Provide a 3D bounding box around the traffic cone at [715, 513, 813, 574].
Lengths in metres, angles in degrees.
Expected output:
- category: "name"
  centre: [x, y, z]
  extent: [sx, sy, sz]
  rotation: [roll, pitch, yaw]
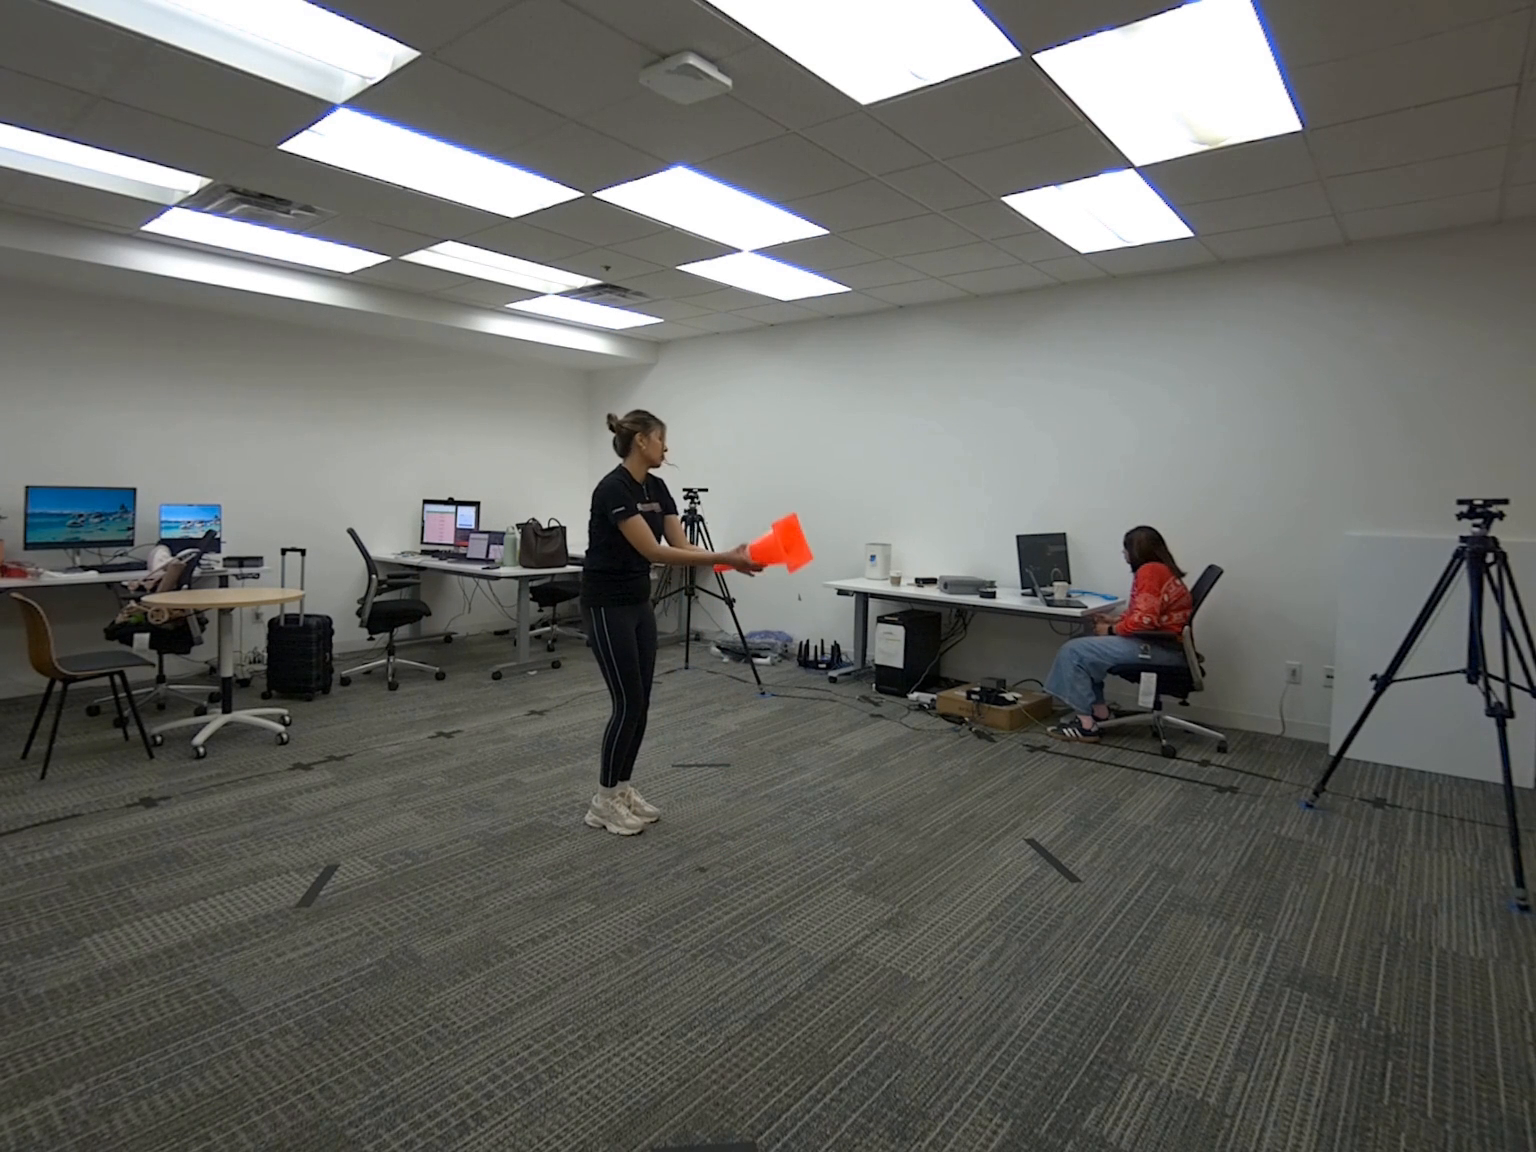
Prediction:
- category: "traffic cone"
  centre: [-0.081, -0.078, 3.320]
  extent: [0.392, 0.202, 0.202]
  rotation: [-16, 6, 35]
